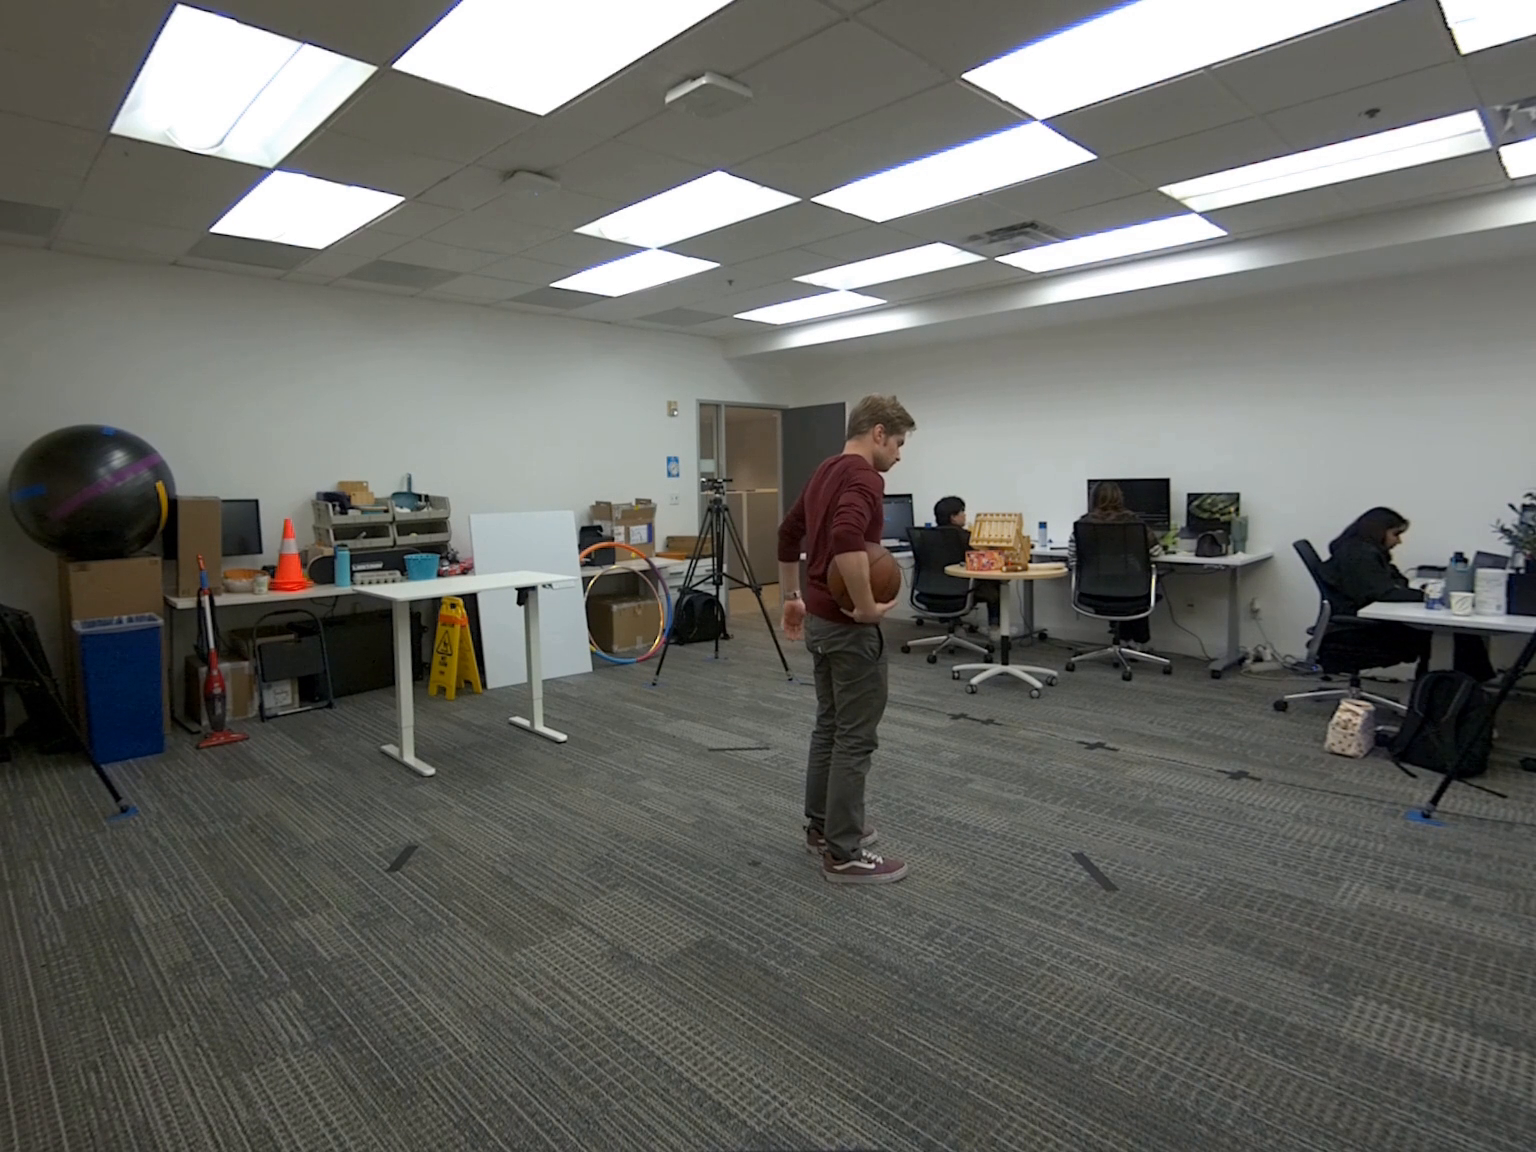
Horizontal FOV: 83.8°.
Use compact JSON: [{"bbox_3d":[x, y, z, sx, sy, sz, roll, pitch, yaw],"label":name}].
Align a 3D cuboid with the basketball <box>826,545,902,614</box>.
[{"bbox_3d":[0.315,0.008,2.802,0.236,0.235,0.237,-1,5,-2],"label":"basketball"}]
